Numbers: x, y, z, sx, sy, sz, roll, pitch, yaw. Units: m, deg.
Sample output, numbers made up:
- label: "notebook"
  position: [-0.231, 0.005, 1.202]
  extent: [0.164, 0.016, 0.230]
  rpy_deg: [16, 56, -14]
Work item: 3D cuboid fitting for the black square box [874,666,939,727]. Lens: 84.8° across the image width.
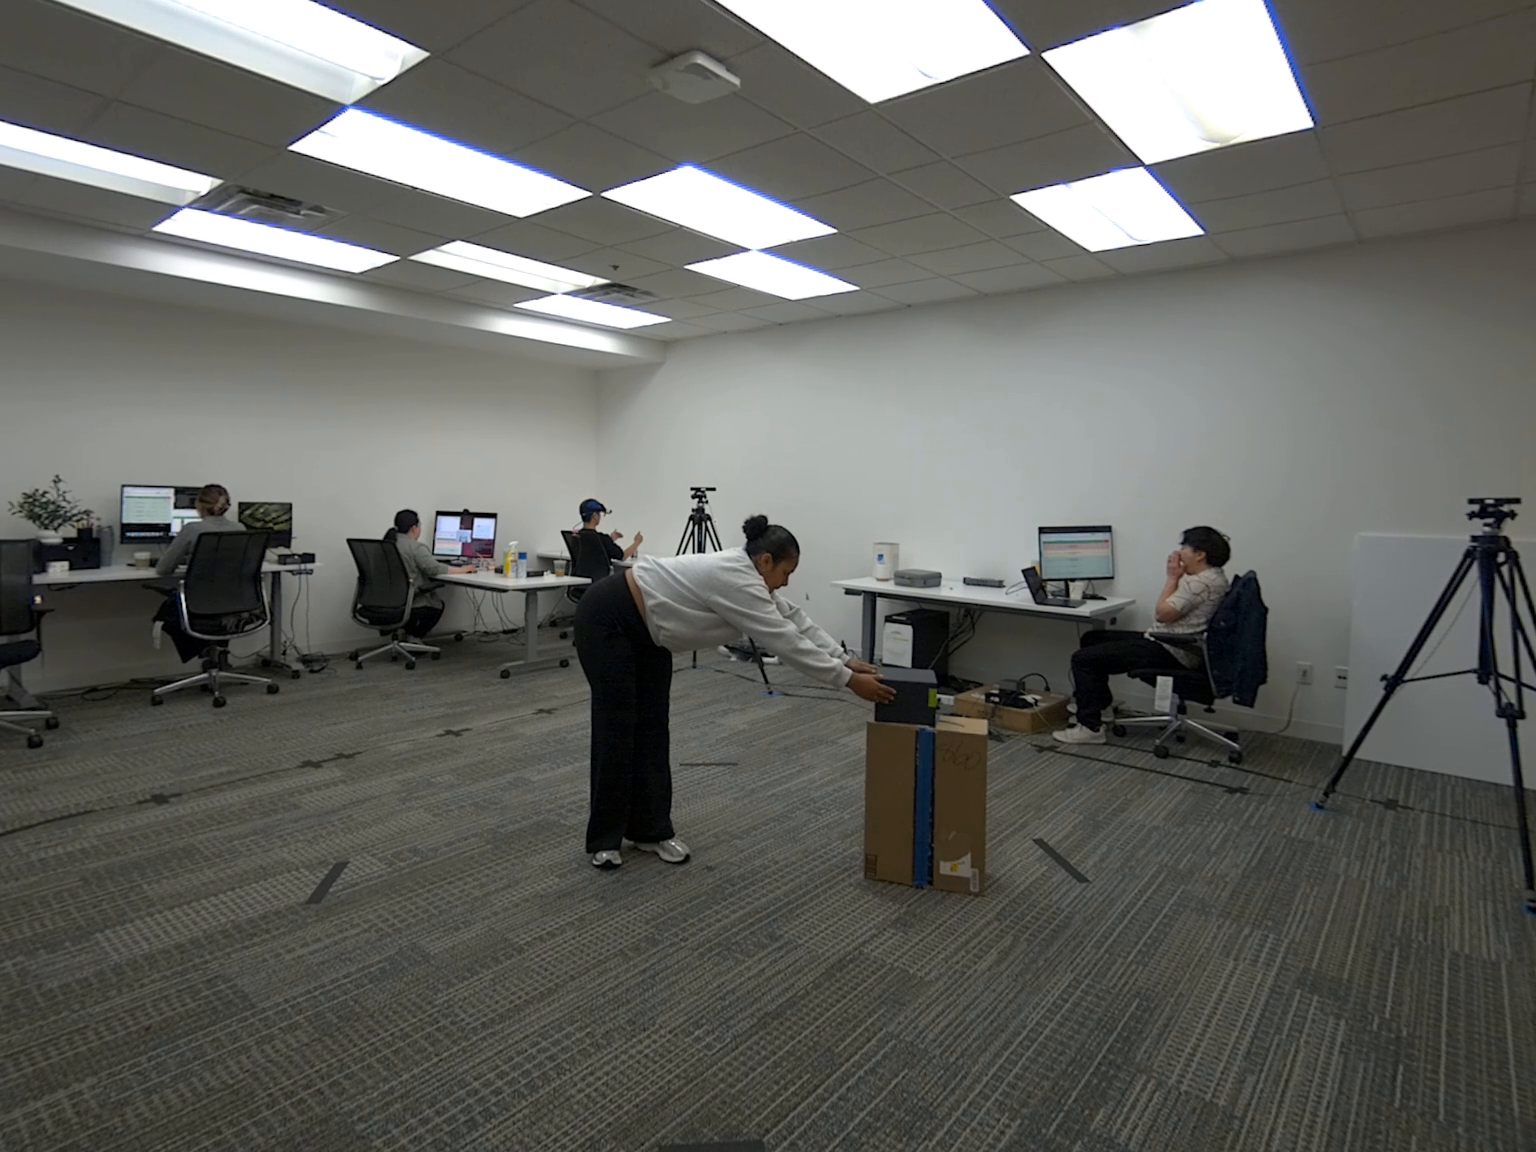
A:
- label: "black square box"
  position: [0.495, 0.433, 3.130]
  extent: [0.219, 0.155, 0.226]
  rpy_deg: [3, 5, 9]
